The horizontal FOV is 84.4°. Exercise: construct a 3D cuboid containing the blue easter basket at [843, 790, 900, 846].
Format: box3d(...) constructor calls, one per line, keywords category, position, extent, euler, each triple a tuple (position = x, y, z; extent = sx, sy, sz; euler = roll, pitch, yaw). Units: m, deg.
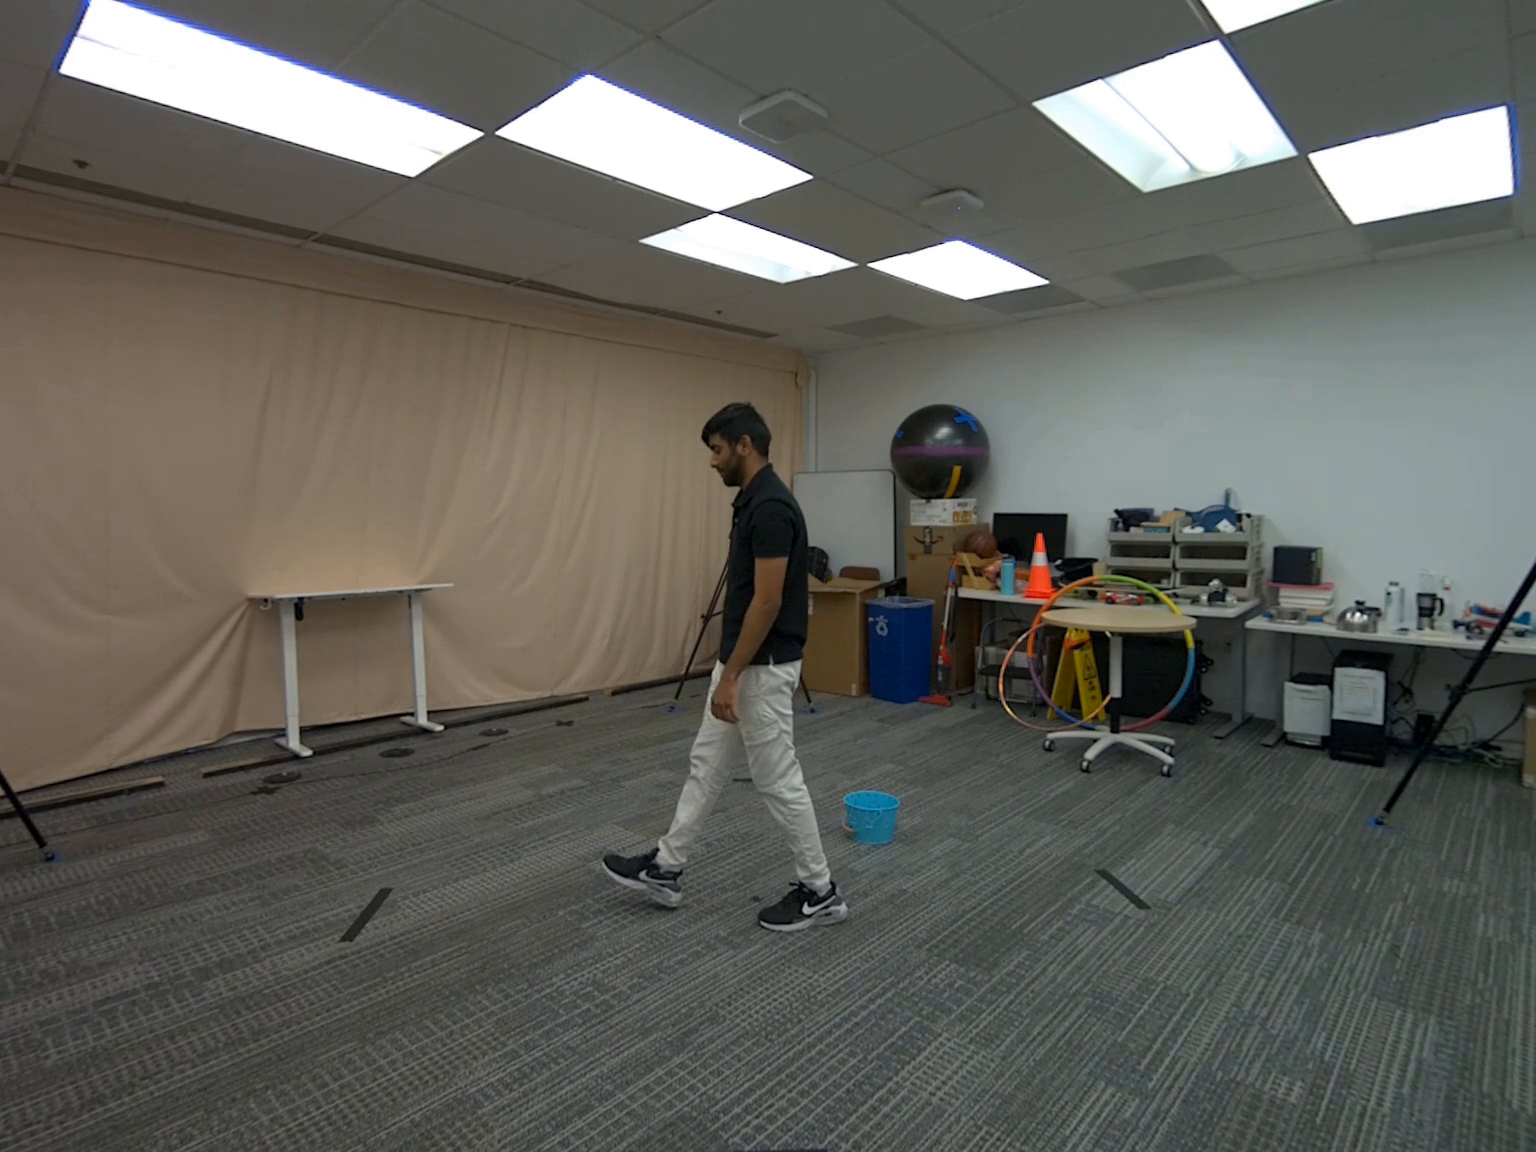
box3d(category="blue easter basket", position=(0.434, 1.018, 3.556), extent=(0.243, 0.155, 0.244), euler=(0, 4, -2))
